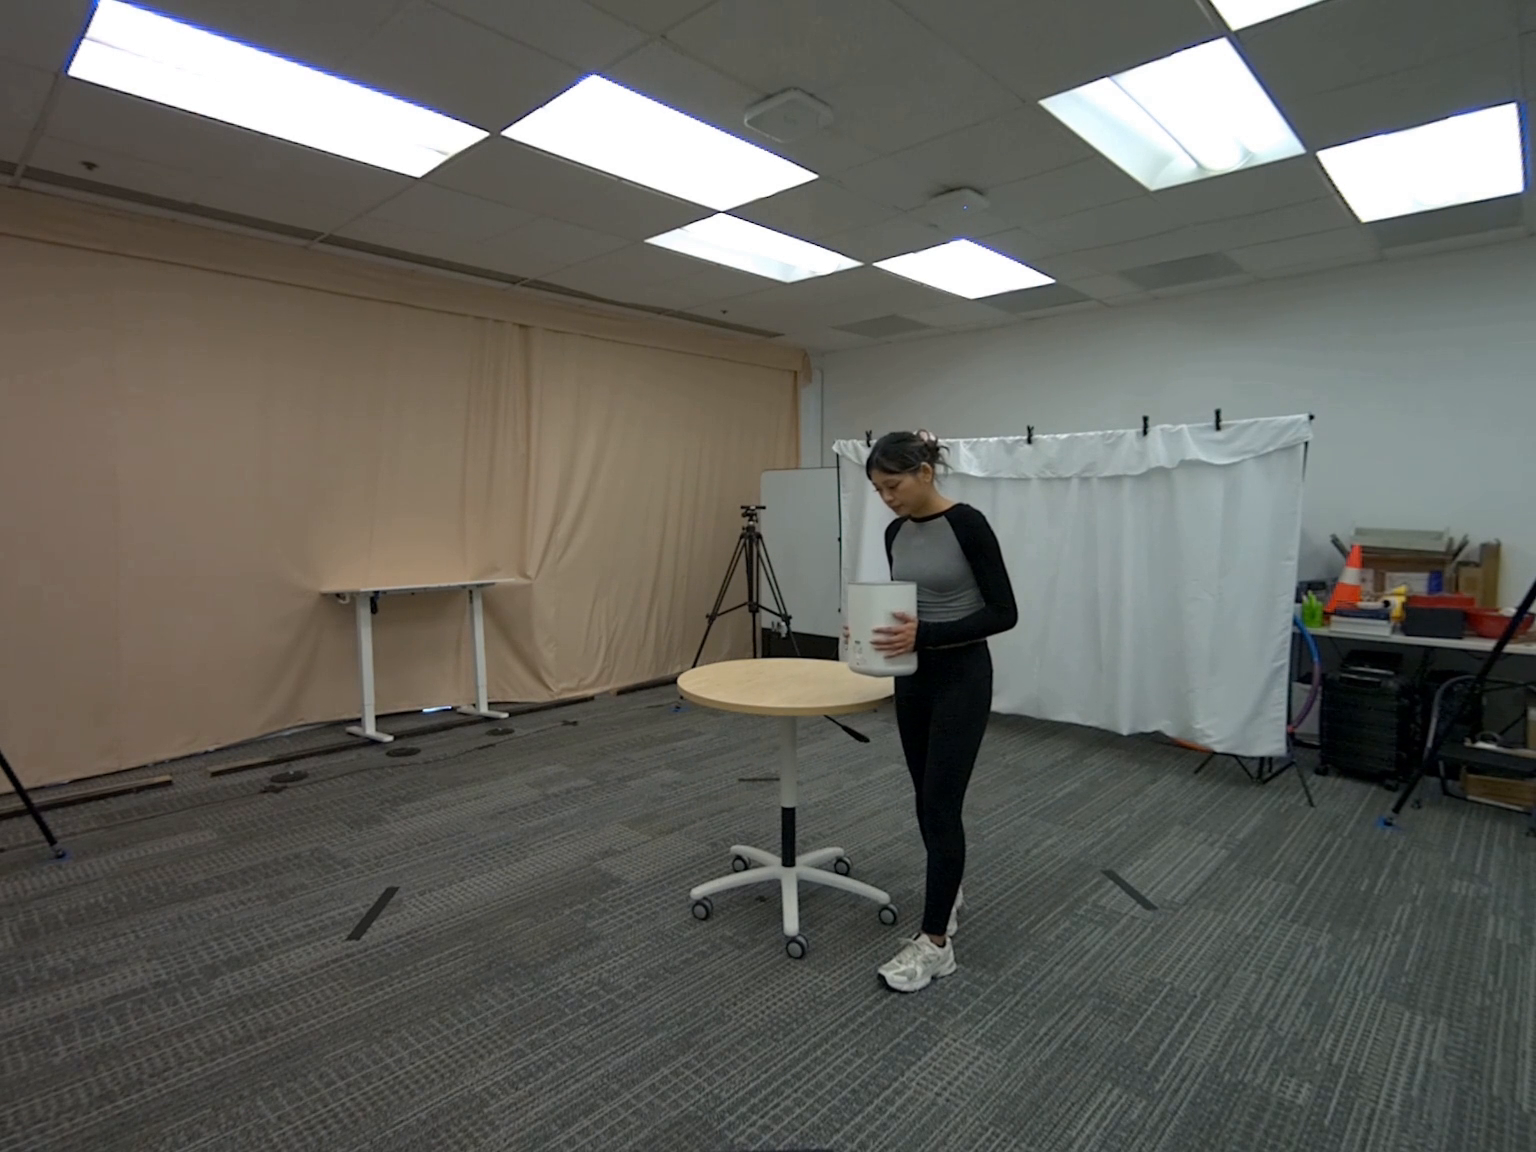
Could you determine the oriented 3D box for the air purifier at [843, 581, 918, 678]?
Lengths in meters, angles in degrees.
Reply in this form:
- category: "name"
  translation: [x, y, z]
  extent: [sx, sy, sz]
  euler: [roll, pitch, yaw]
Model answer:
- category: "air purifier"
  translation: [0.342, 0.151, 2.433]
  extent: [0.169, 0.265, 0.173]
  euler: [1, -1, -10]
